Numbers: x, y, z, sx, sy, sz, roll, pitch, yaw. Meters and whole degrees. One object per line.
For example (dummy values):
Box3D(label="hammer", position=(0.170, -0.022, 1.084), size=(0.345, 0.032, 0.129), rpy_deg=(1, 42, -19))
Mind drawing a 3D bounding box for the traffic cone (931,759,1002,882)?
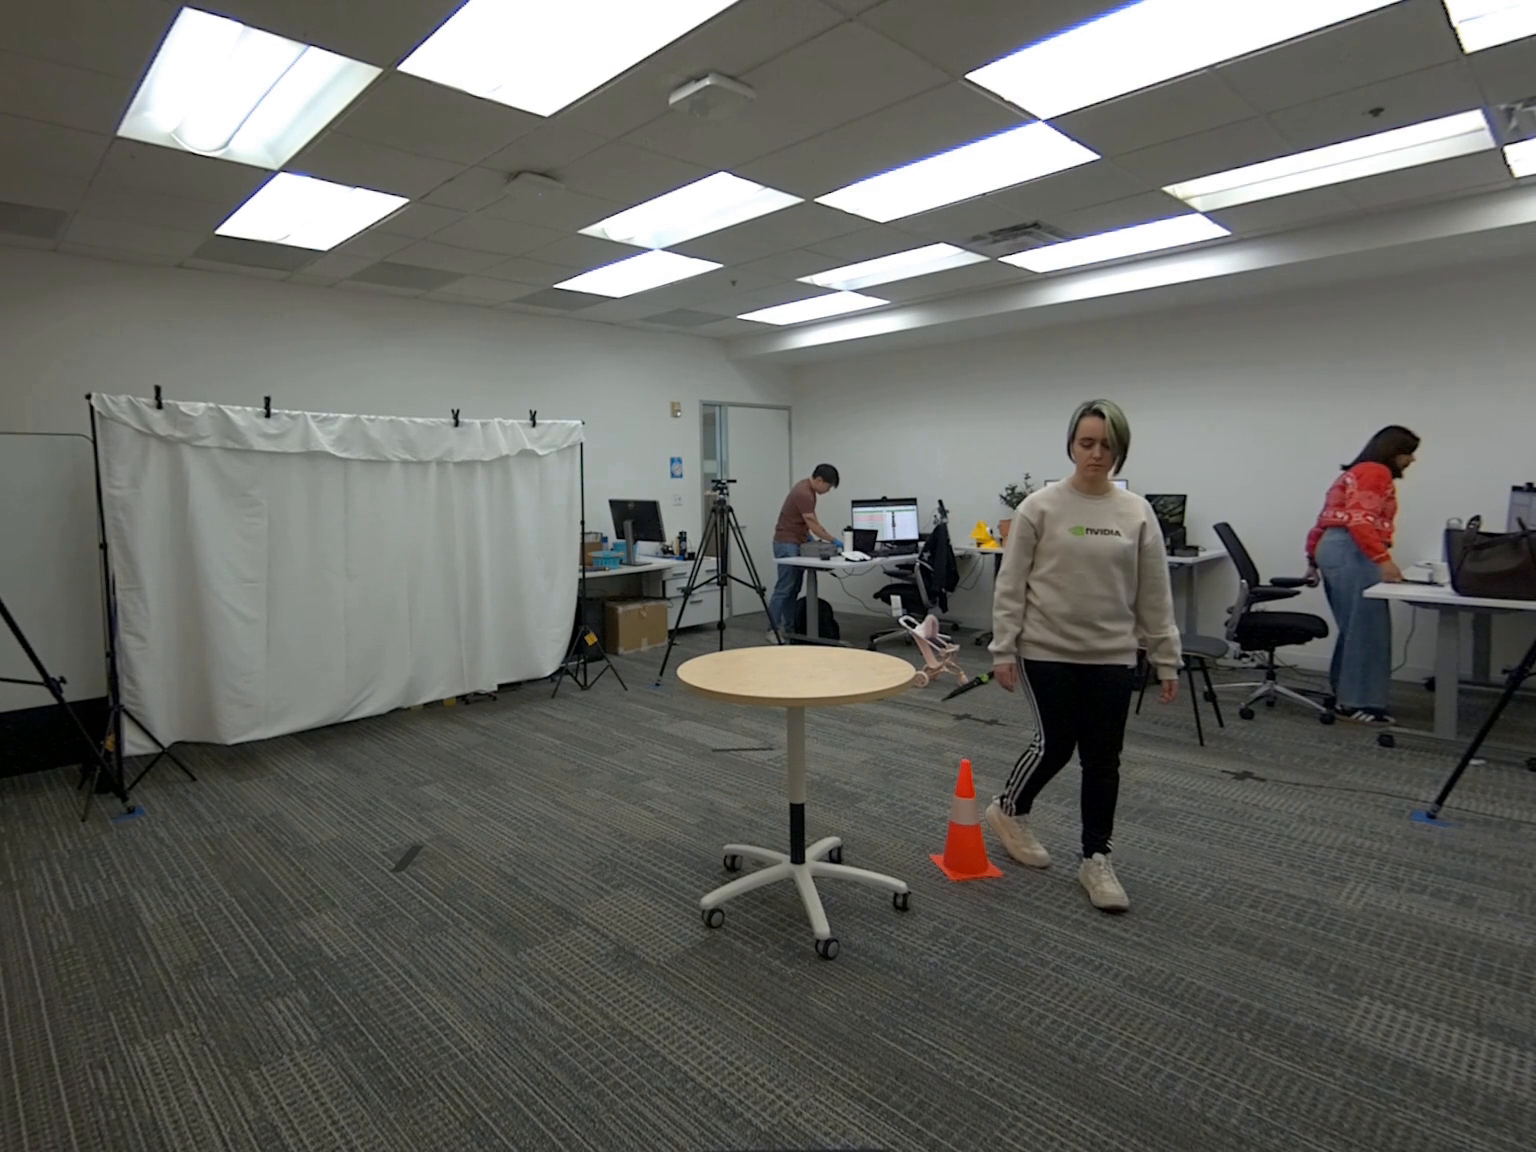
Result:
Box3D(label="traffic cone", position=(0.720, 0.858, 3.055), size=(0.203, 0.382, 0.206), rpy_deg=(0, 5, -11))
